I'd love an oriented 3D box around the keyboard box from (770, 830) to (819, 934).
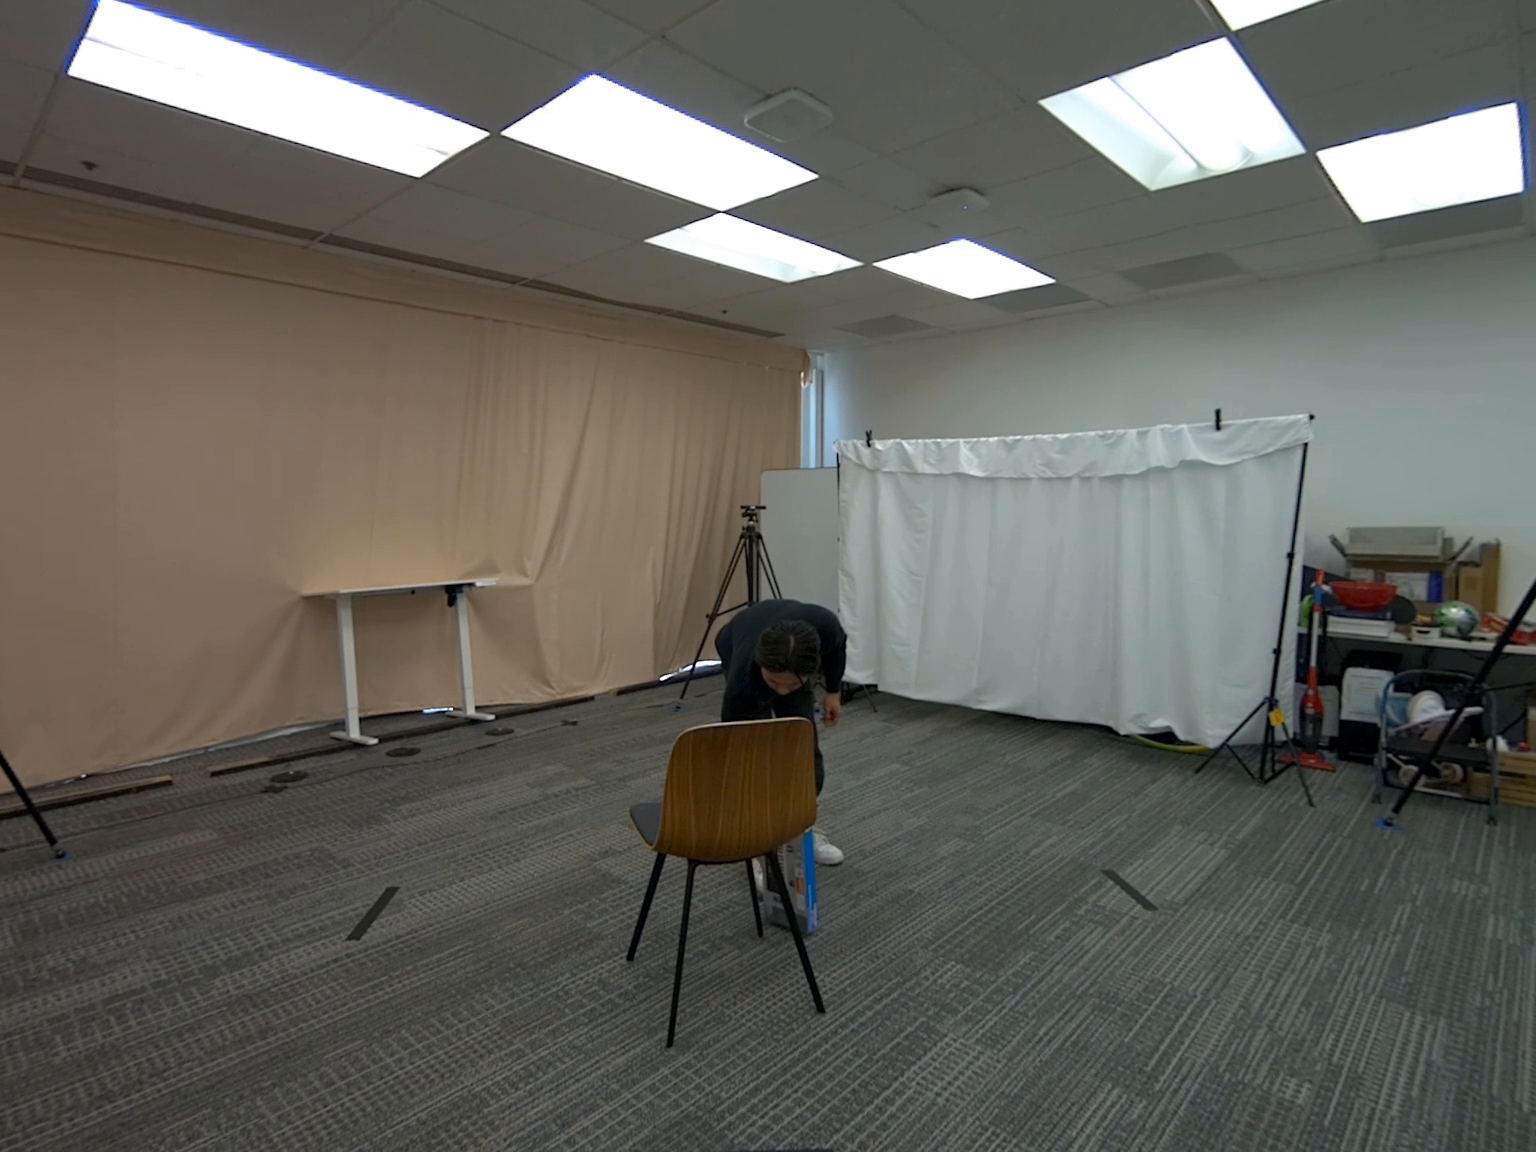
[{"bbox_3d":[0.064,0.919,2.752,0.181,0.435,0.057,1,5,39],"label":"keyboard box"}]
